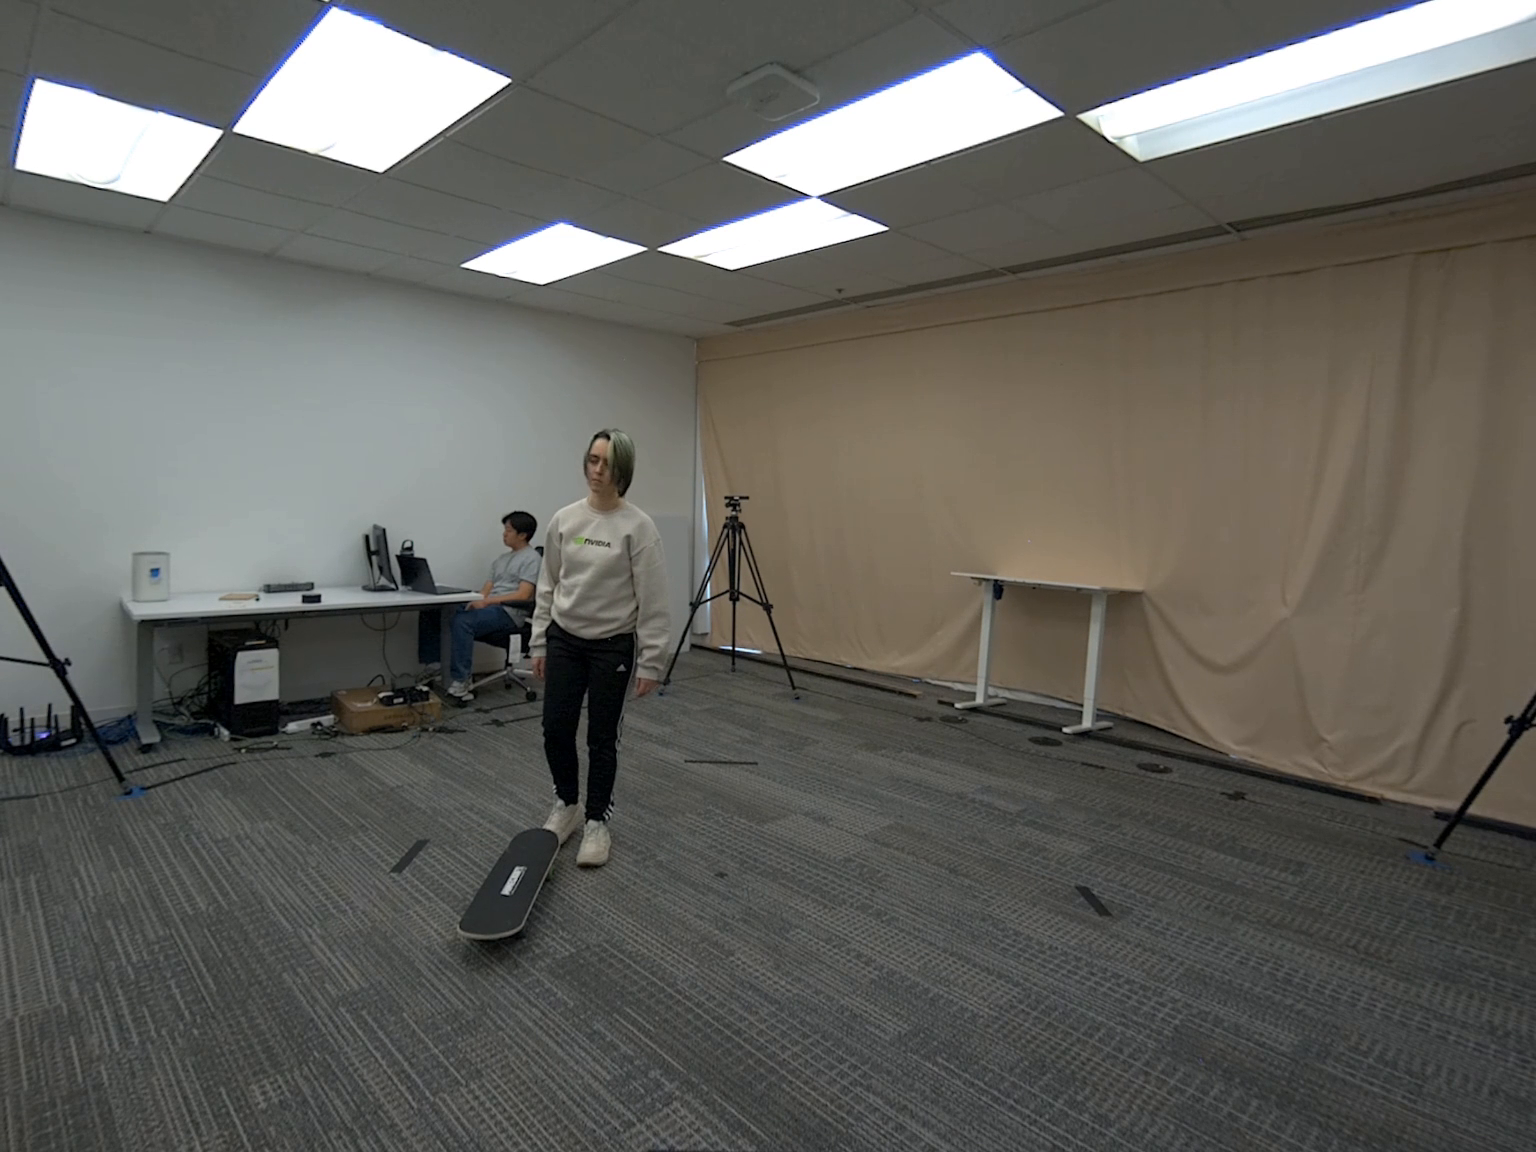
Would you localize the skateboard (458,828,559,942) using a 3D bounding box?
[{"bbox_3d":[-0.865,1.060,2.824,0.193,0.110,0.788,1,5,-3],"label":"skateboard"}]
